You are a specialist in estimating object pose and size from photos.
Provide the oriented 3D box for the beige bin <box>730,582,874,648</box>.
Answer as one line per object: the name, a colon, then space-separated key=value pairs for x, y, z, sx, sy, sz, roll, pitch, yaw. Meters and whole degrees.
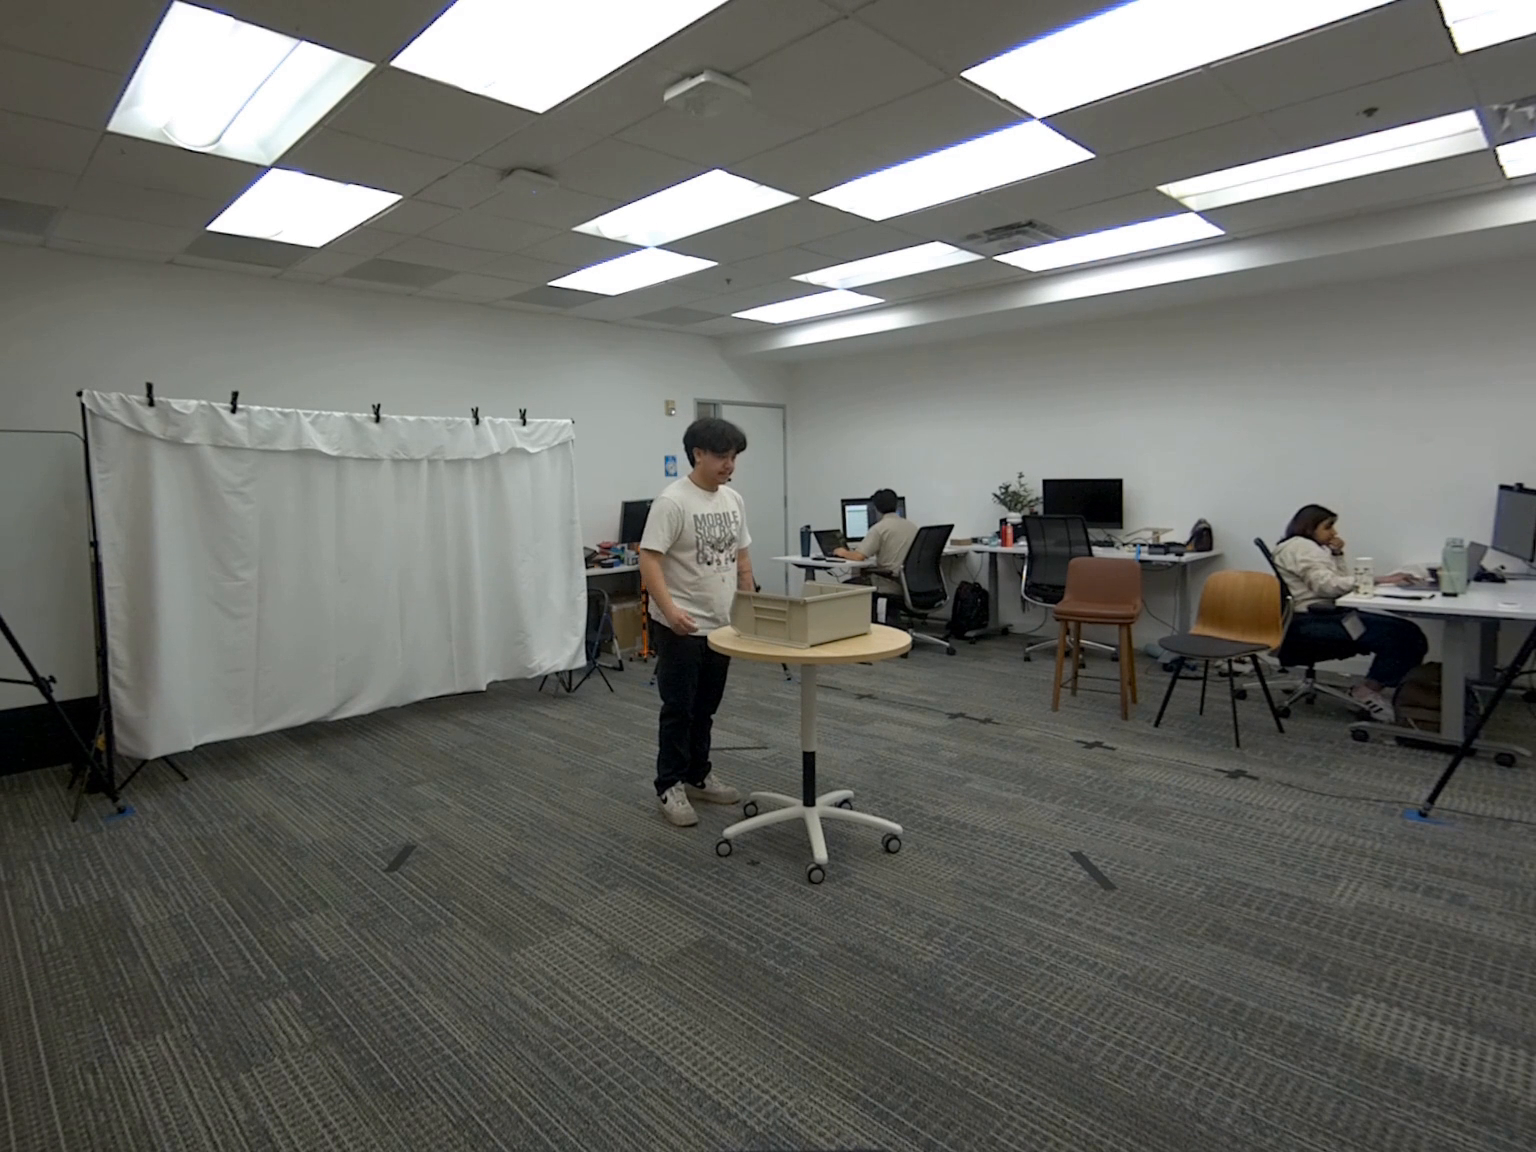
beige bin: x=0.125 y=0.140 z=3.237 sx=0.389 sy=0.188 sz=0.411 roll=6 pitch=8 yaw=42
